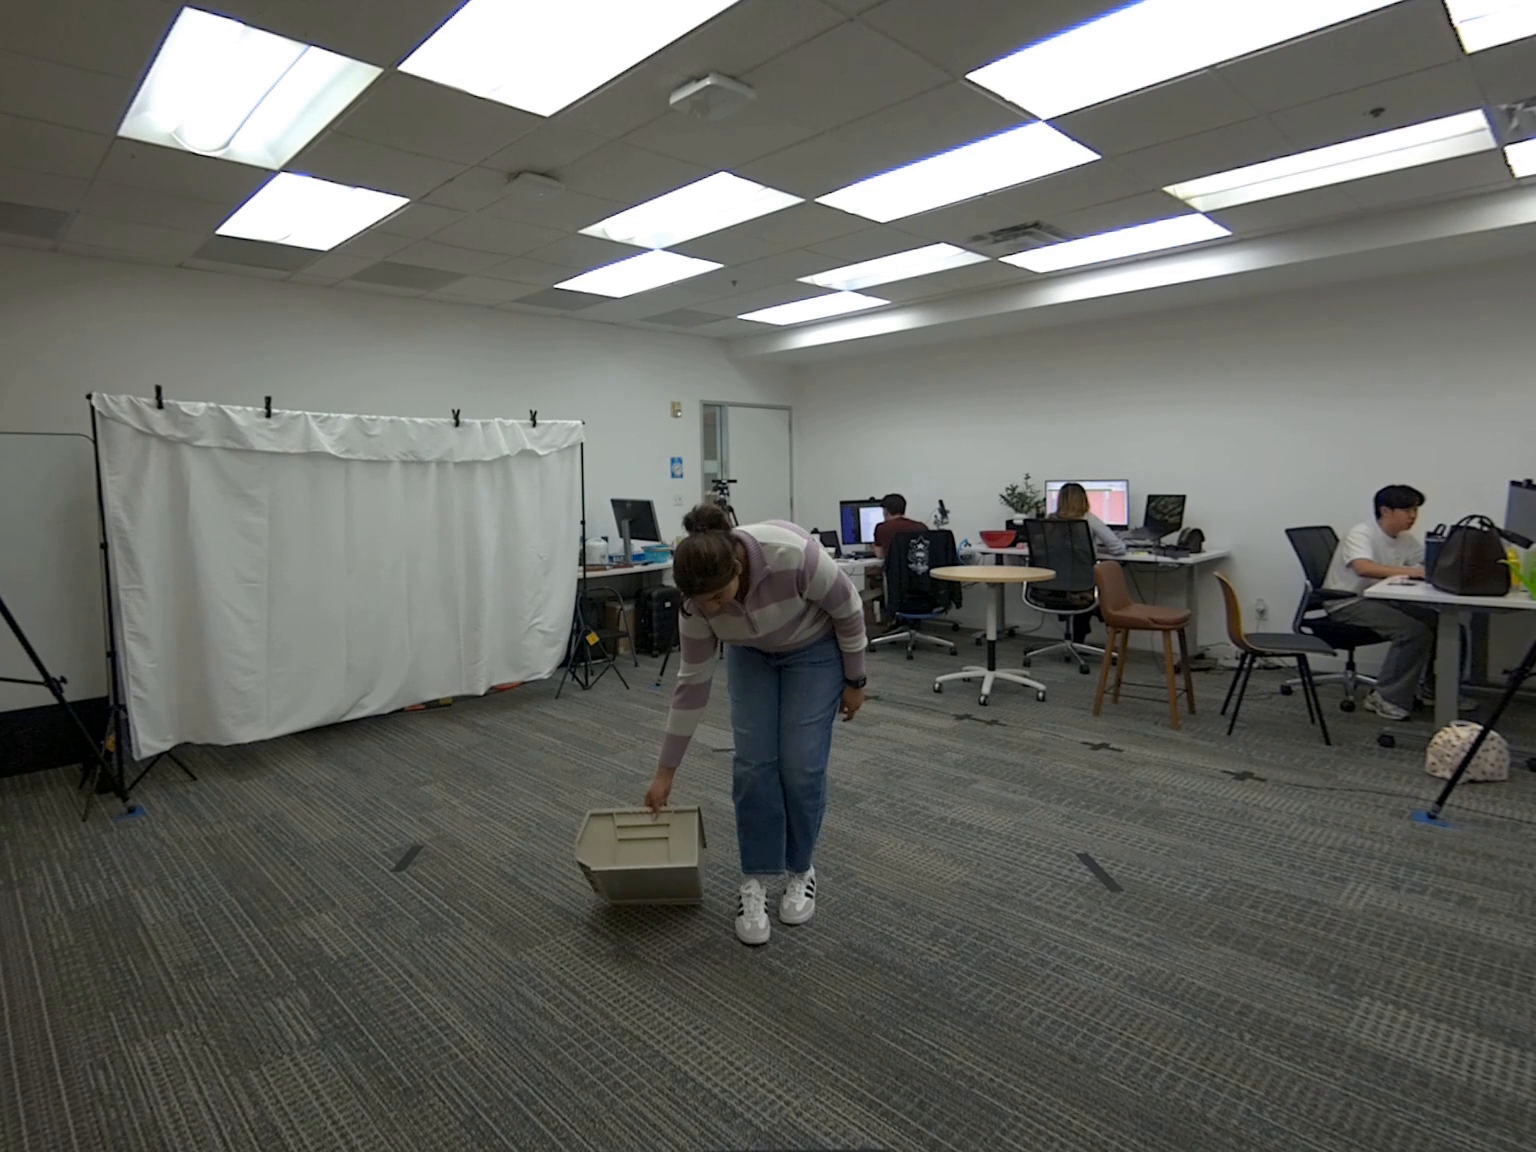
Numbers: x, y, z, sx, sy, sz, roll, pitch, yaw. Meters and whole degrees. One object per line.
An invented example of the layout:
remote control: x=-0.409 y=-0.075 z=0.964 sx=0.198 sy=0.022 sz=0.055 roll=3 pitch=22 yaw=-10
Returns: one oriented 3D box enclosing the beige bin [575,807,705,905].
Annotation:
beige bin: x=-0.390 y=0.900 z=2.714 sx=0.377 sy=0.194 sz=0.411 roll=0 pitch=-35 yaw=0
